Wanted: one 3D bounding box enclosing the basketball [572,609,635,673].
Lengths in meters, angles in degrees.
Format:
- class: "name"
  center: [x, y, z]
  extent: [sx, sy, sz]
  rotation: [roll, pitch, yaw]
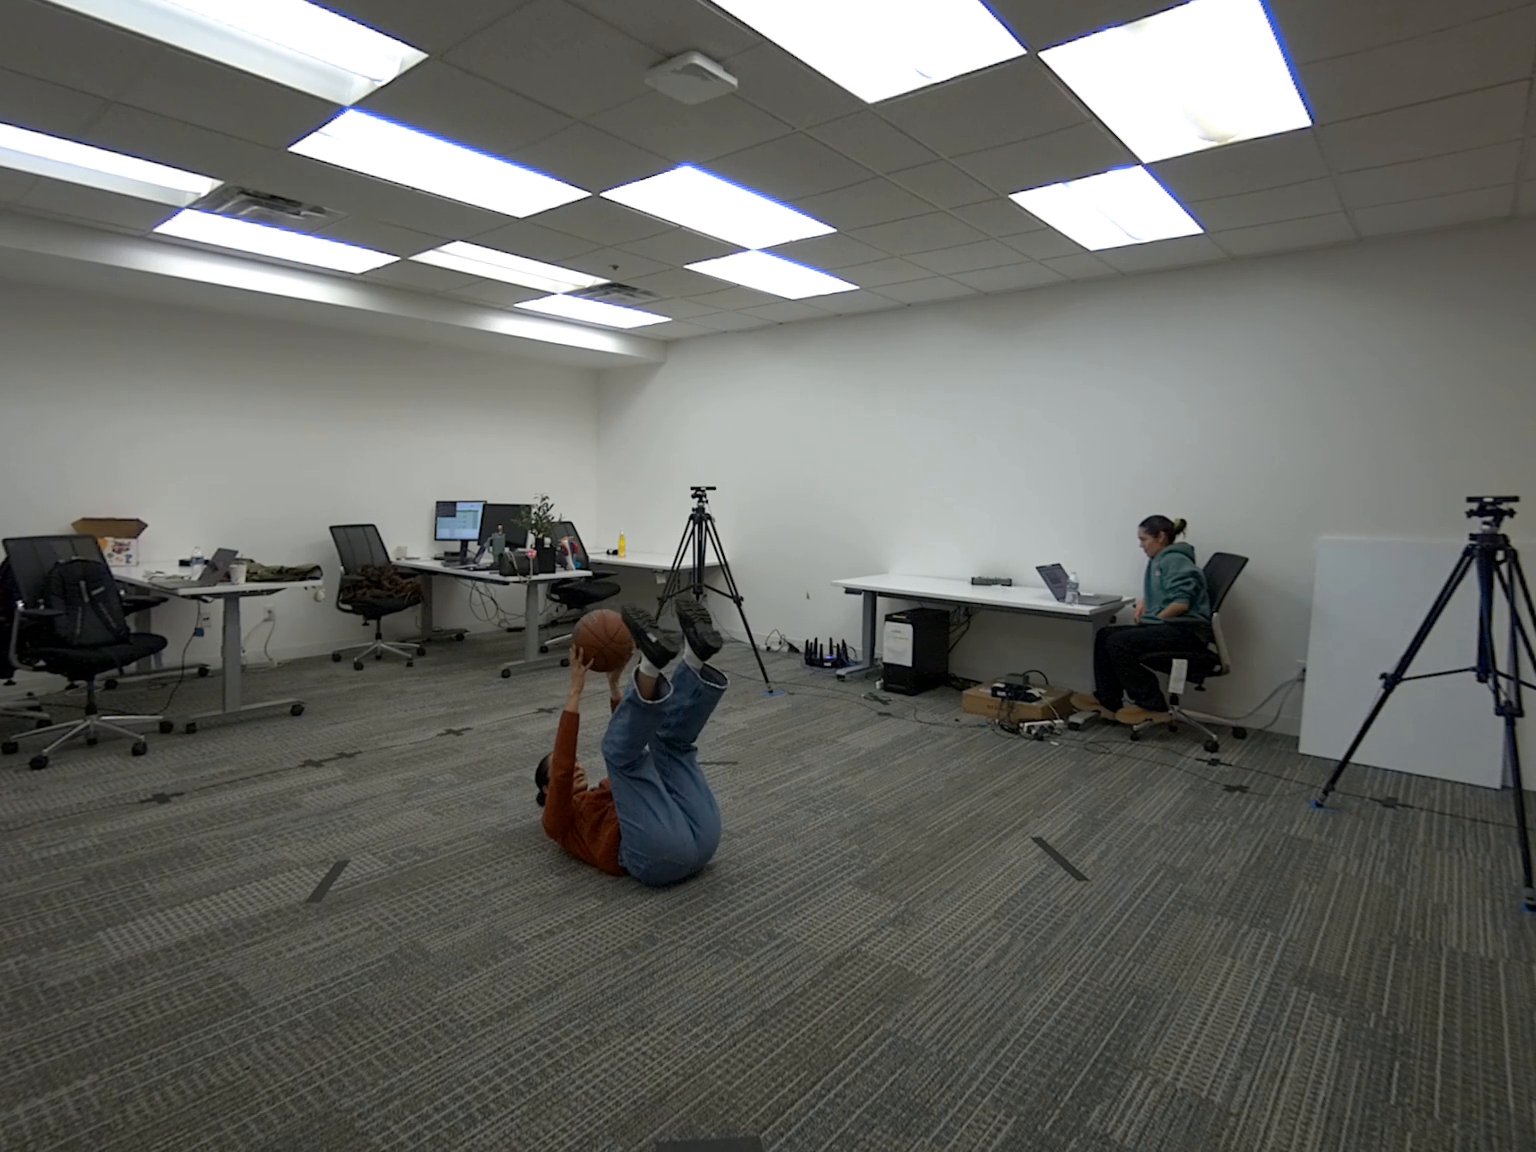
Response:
- class: "basketball"
  center: [-0.639, 0.246, 3.221]
  extent: [0.236, 0.235, 0.237]
  rotation: [-3, 3, -2]
